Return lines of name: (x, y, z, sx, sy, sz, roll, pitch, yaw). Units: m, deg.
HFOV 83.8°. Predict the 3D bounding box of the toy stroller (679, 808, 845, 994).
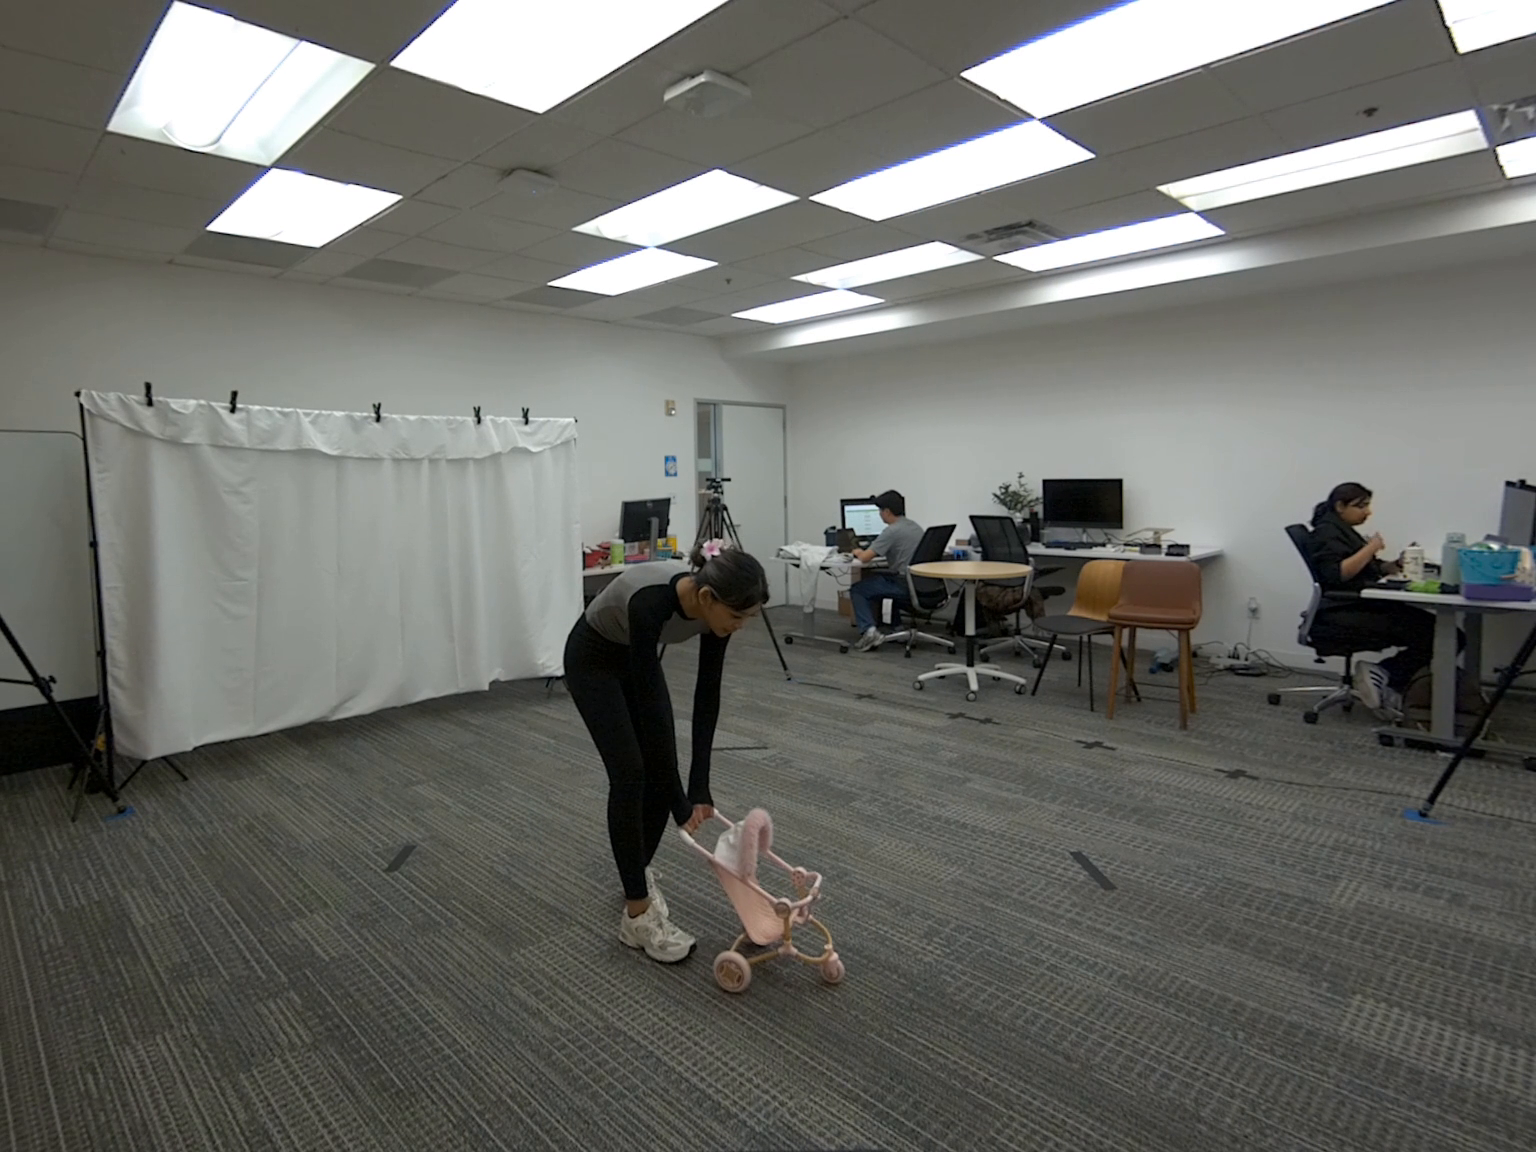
toy stroller: (-0.006, 0.900, 2.416, 0.346, 0.536, 0.277, -17, -2, 23)
